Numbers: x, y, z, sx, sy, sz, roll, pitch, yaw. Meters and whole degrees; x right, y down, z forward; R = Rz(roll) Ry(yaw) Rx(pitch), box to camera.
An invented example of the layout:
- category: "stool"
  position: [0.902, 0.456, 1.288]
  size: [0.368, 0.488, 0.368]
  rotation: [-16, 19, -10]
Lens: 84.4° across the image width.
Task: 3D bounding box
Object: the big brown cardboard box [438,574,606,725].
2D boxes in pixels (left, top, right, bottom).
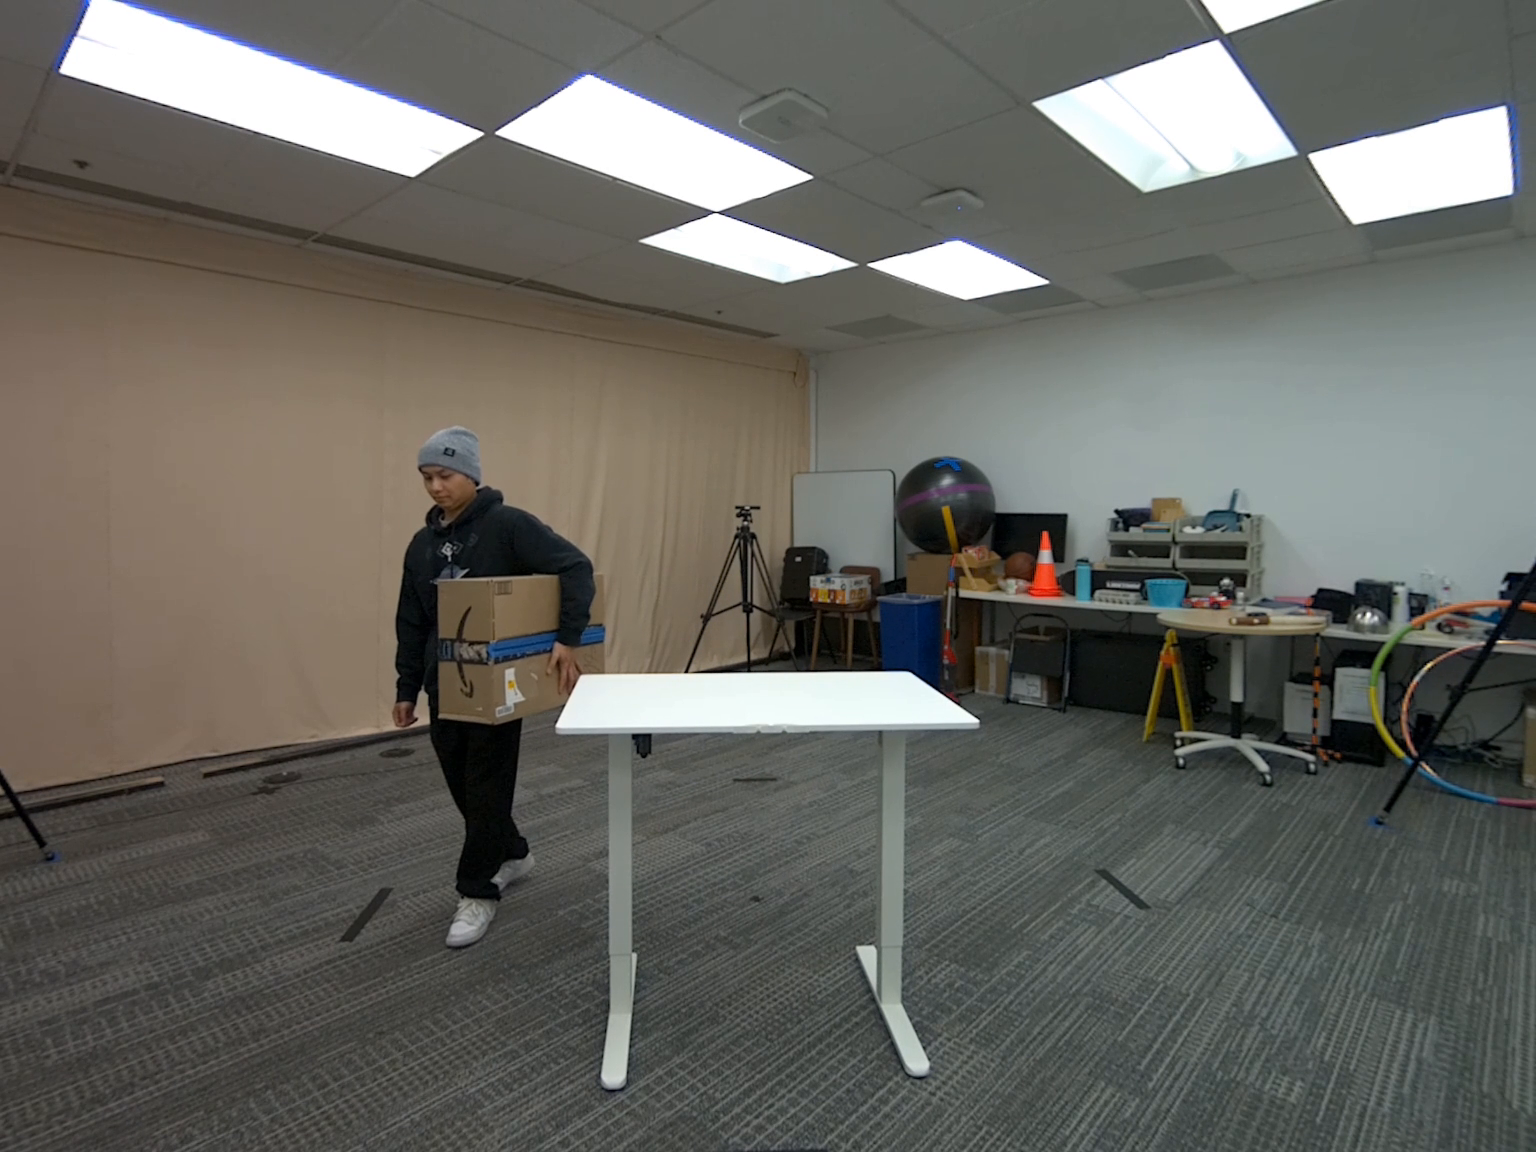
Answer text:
- category: "big brown cardboard box"
  position: [-0.771, 0.208, 2.695]
  size: [0.239, 0.417, 0.575]
  rotation: [-1, 1, 23]
